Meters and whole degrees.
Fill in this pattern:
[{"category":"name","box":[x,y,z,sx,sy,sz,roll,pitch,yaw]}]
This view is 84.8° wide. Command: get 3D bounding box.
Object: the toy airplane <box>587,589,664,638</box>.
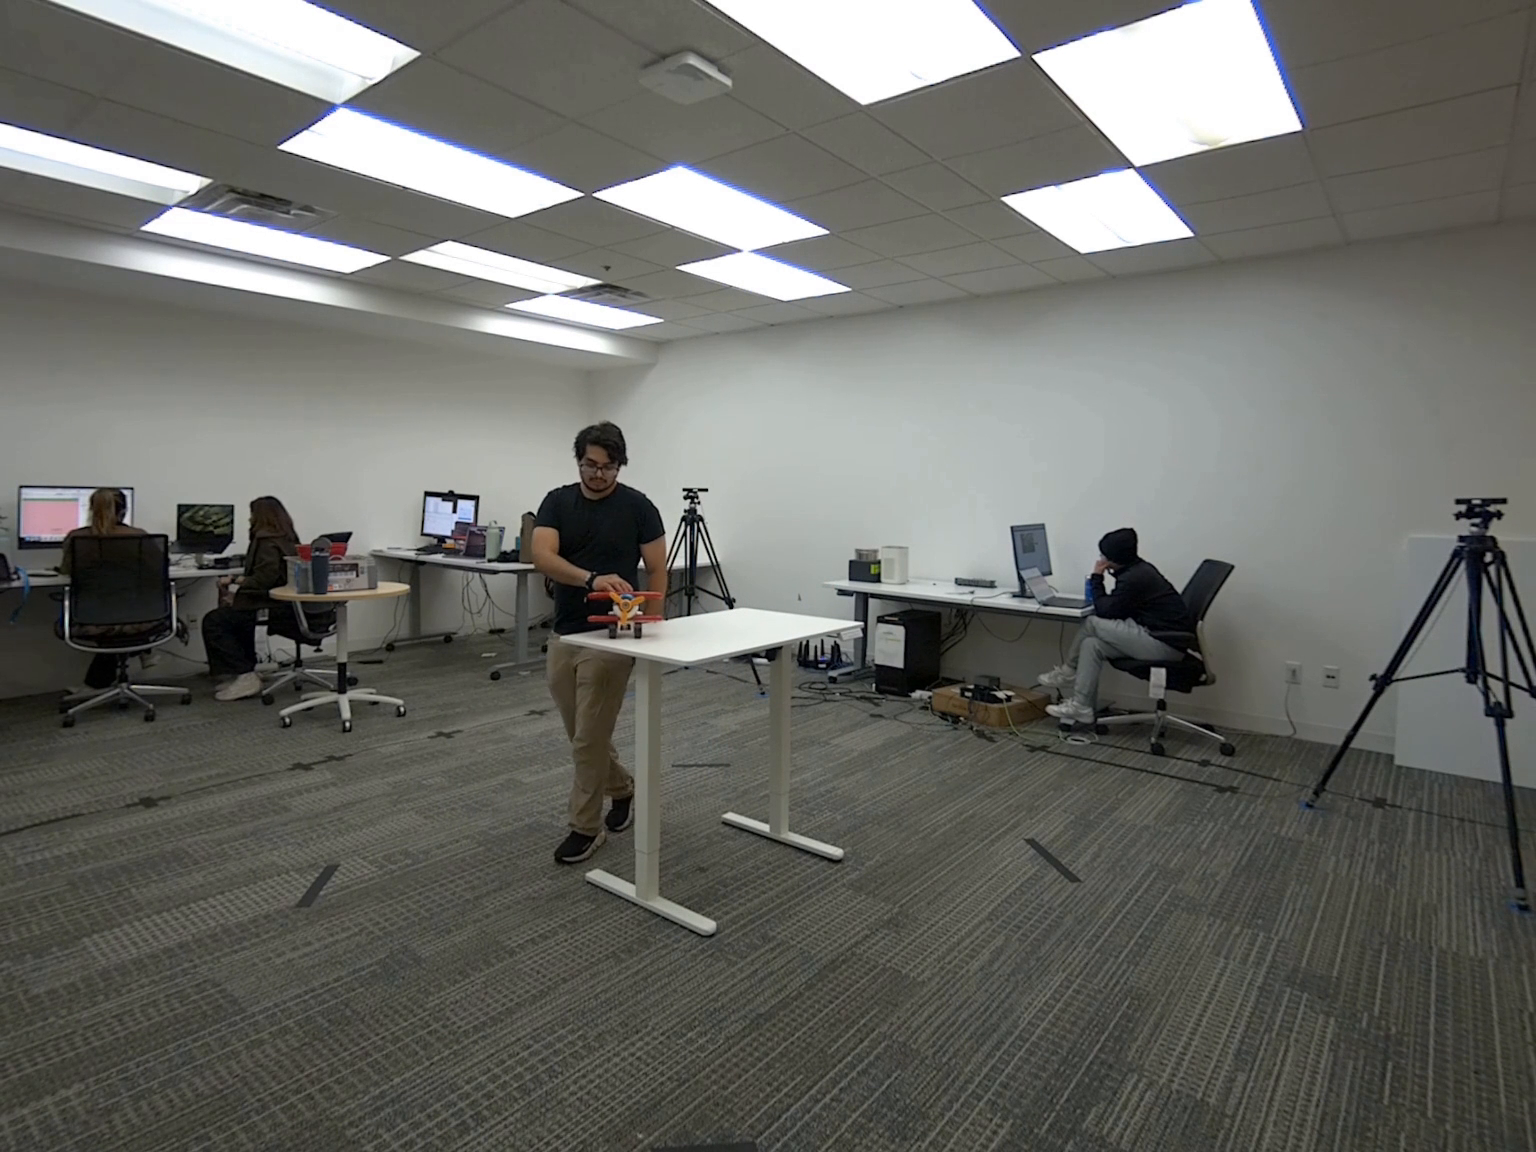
[{"category":"toy airplane","box":[-0.522,0.124,2.954,0.244,0.156,0.267,-4,6,-34]}]
